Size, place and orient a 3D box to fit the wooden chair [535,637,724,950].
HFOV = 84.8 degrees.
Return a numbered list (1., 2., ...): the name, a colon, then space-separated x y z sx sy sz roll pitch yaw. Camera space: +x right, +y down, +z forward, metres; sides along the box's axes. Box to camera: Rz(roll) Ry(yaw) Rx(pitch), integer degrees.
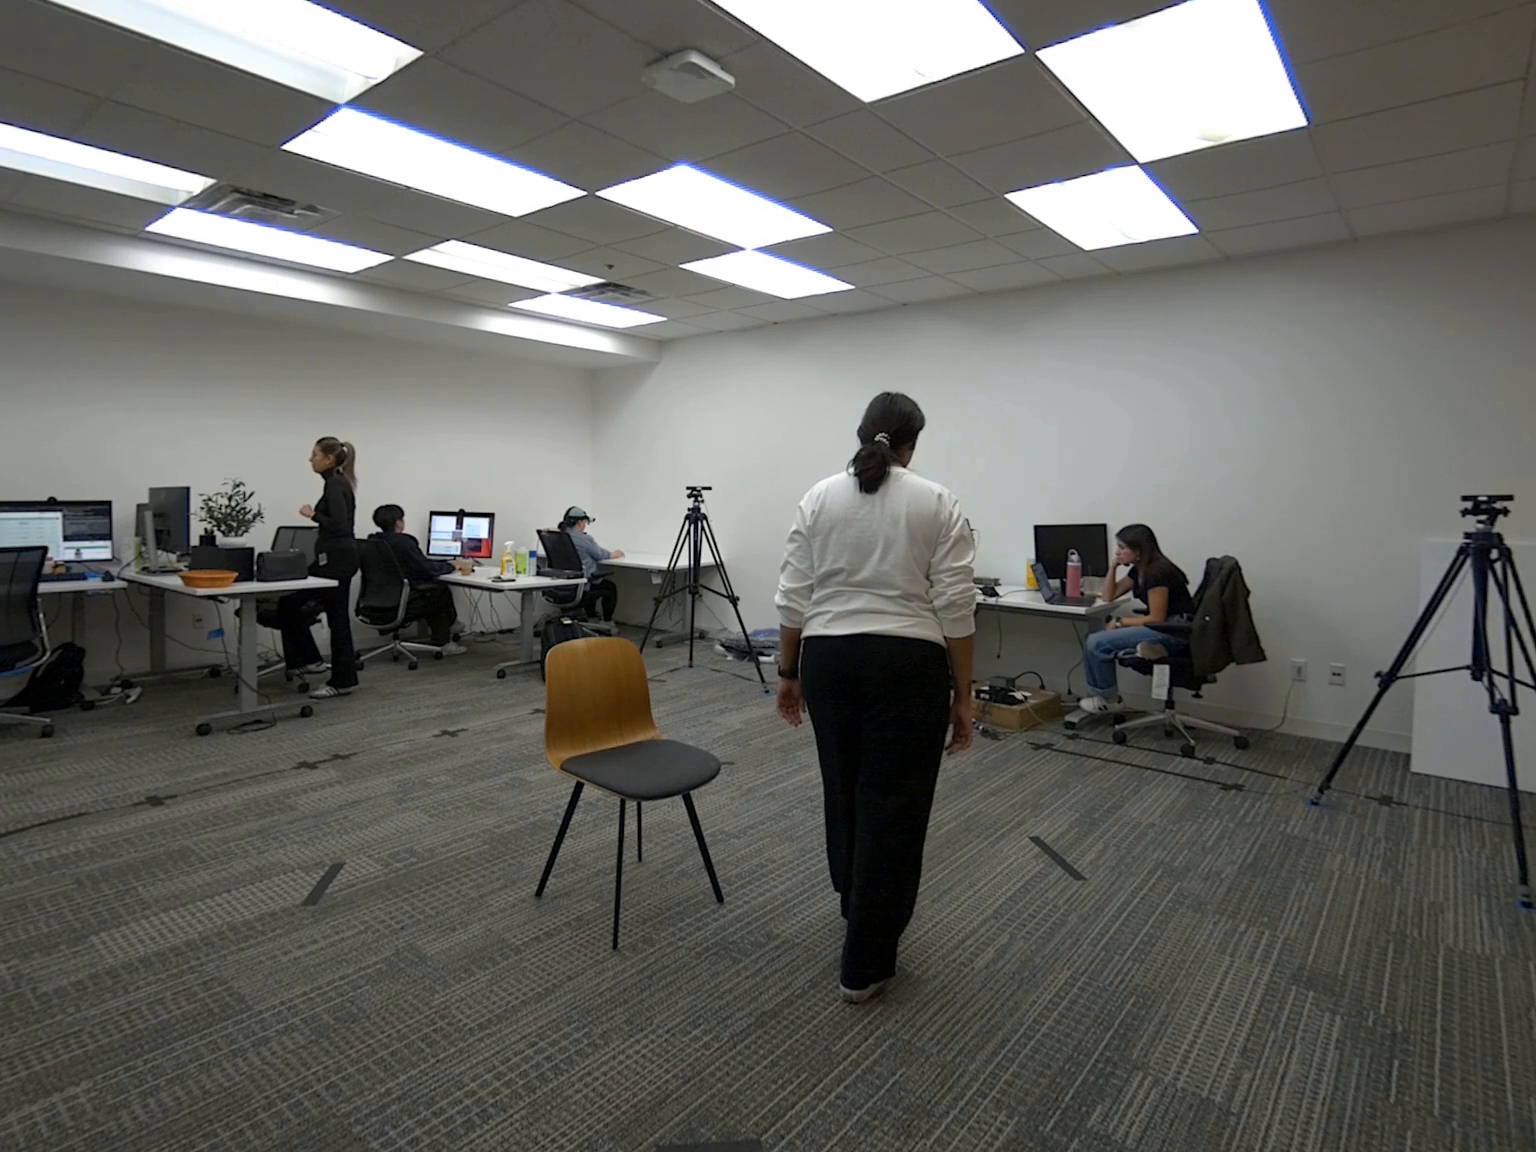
1. wooden chair: -0.452 0.660 2.827 0.463 0.878 0.539 -2 0 -45
